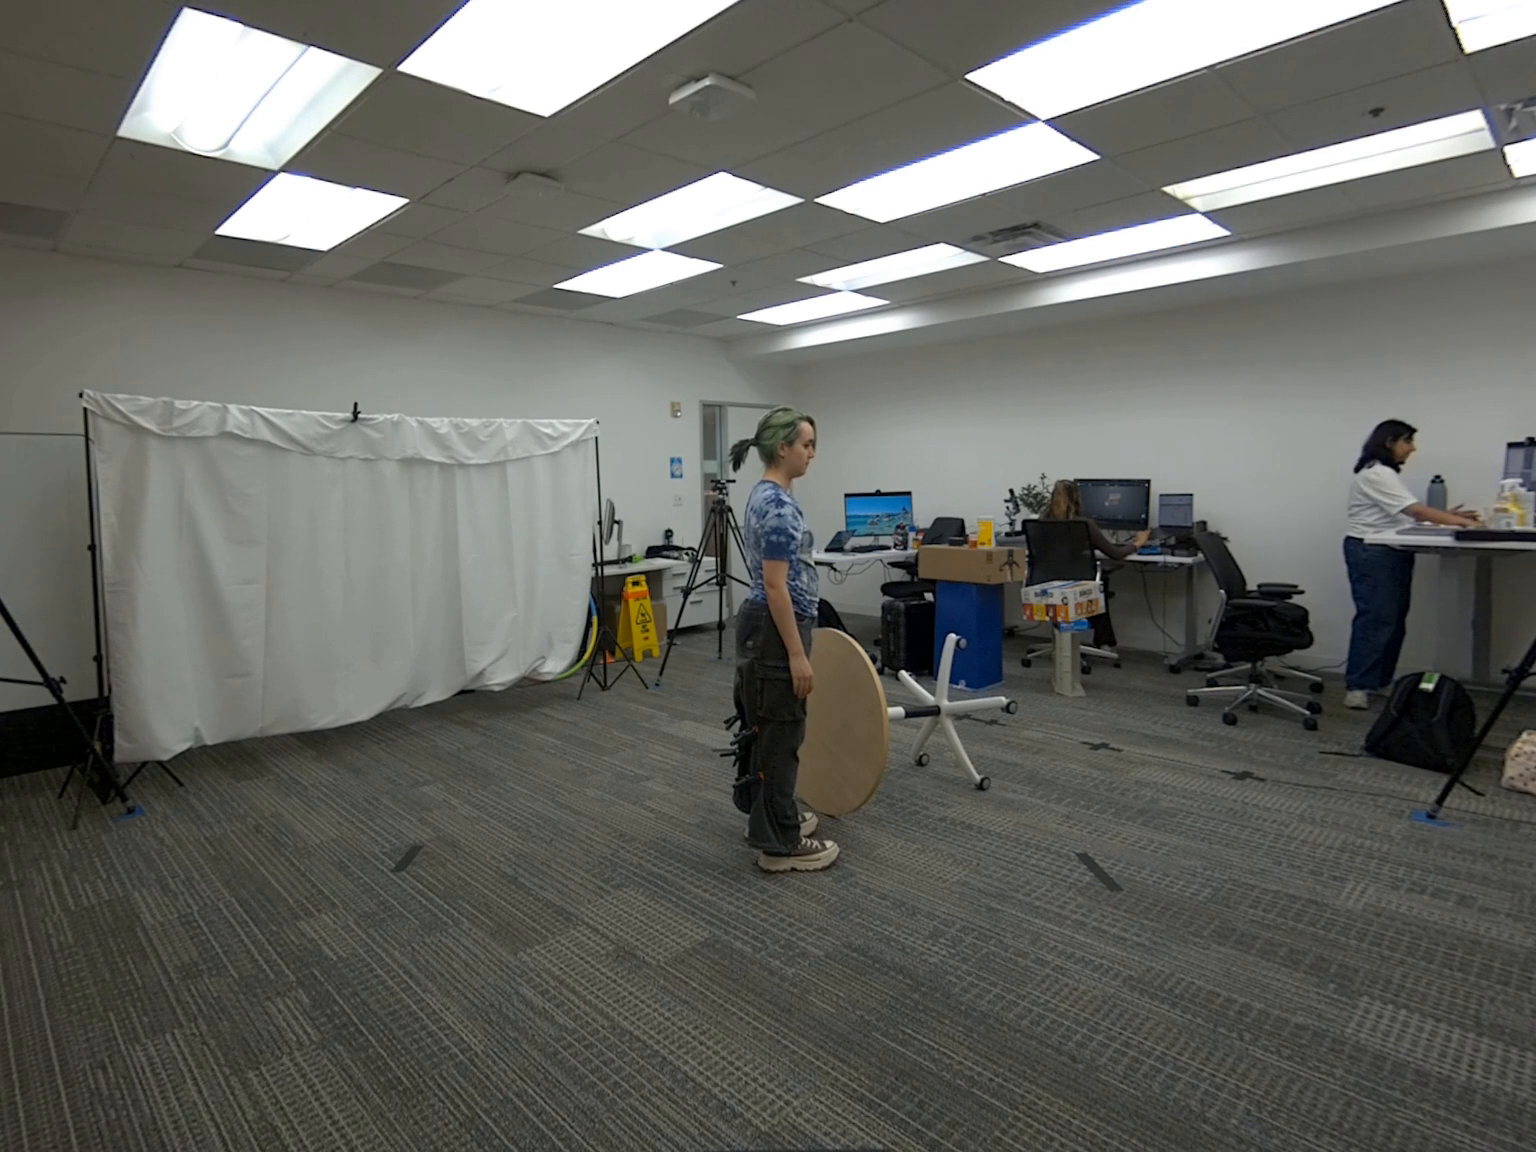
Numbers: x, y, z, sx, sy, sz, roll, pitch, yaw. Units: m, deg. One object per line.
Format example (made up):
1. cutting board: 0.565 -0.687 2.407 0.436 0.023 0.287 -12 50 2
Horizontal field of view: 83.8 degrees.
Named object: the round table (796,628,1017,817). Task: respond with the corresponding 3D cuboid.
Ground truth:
1. round table: 0.569 0.619 3.790 0.773 0.763 0.785 3 2 -32
